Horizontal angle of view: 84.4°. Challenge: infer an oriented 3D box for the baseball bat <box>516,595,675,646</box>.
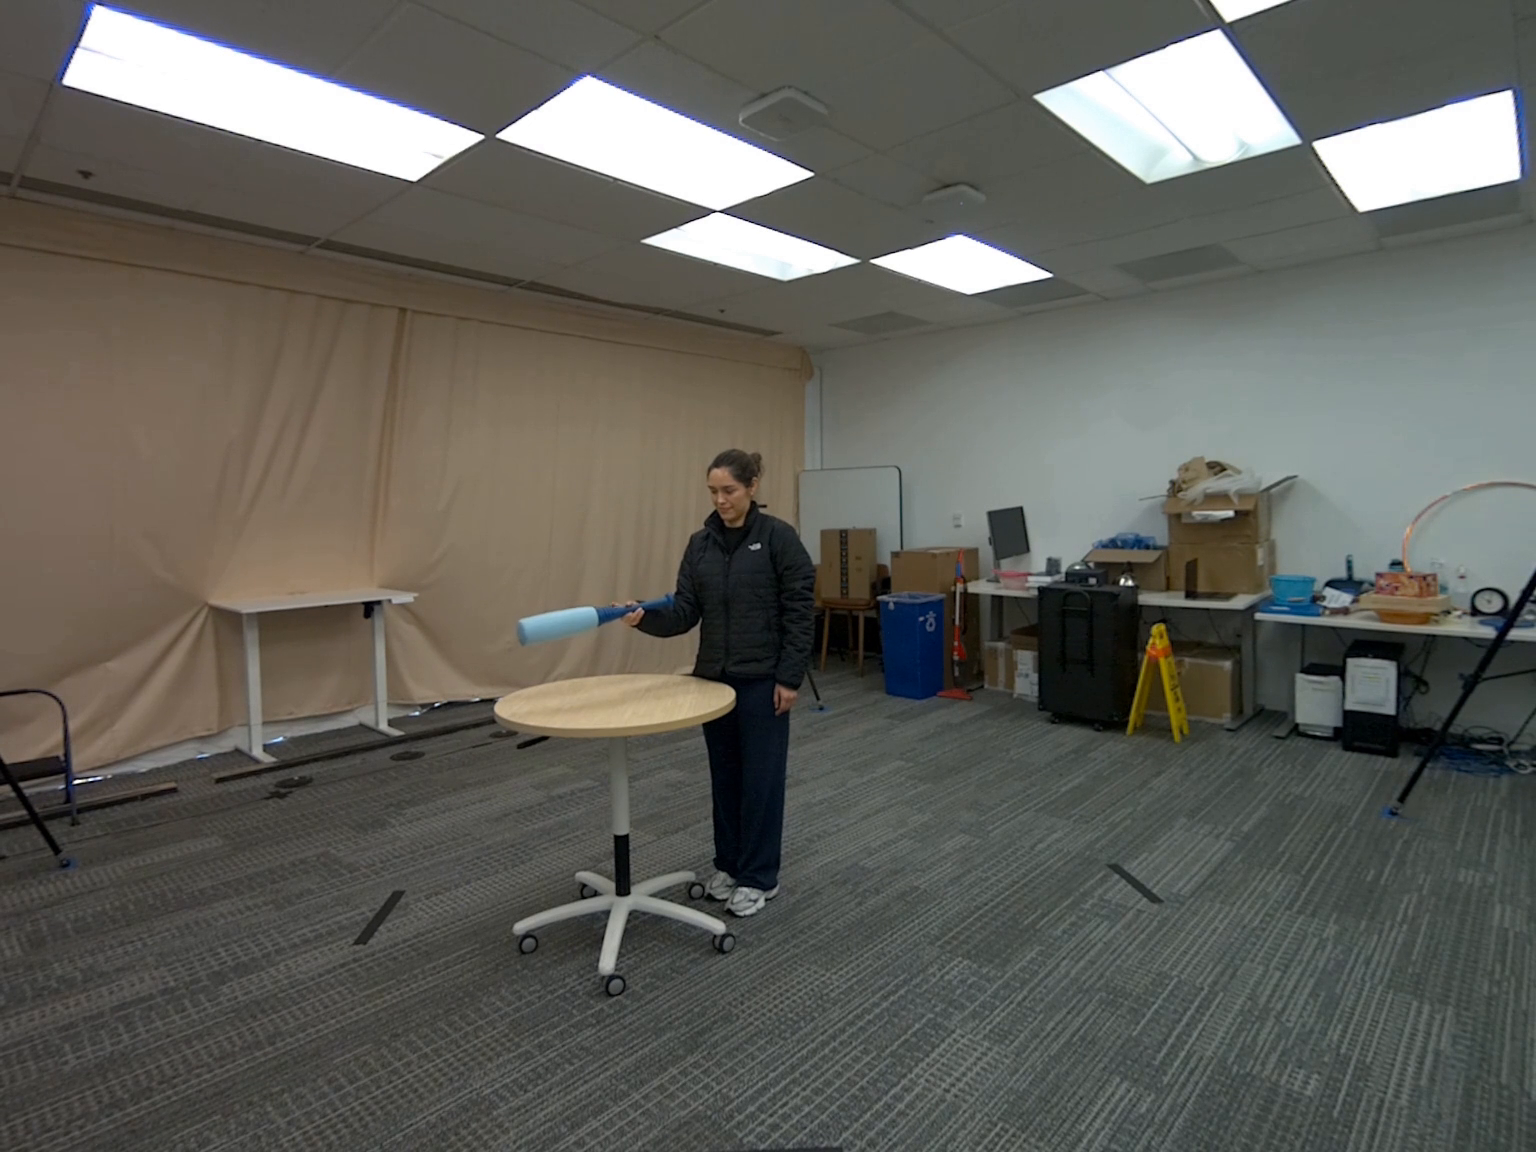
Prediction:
[{"bbox_3d":[-0.530,0.134,2.686,0.530,0.088,0.091,-11,9,-28],"label":"baseball bat"}]
